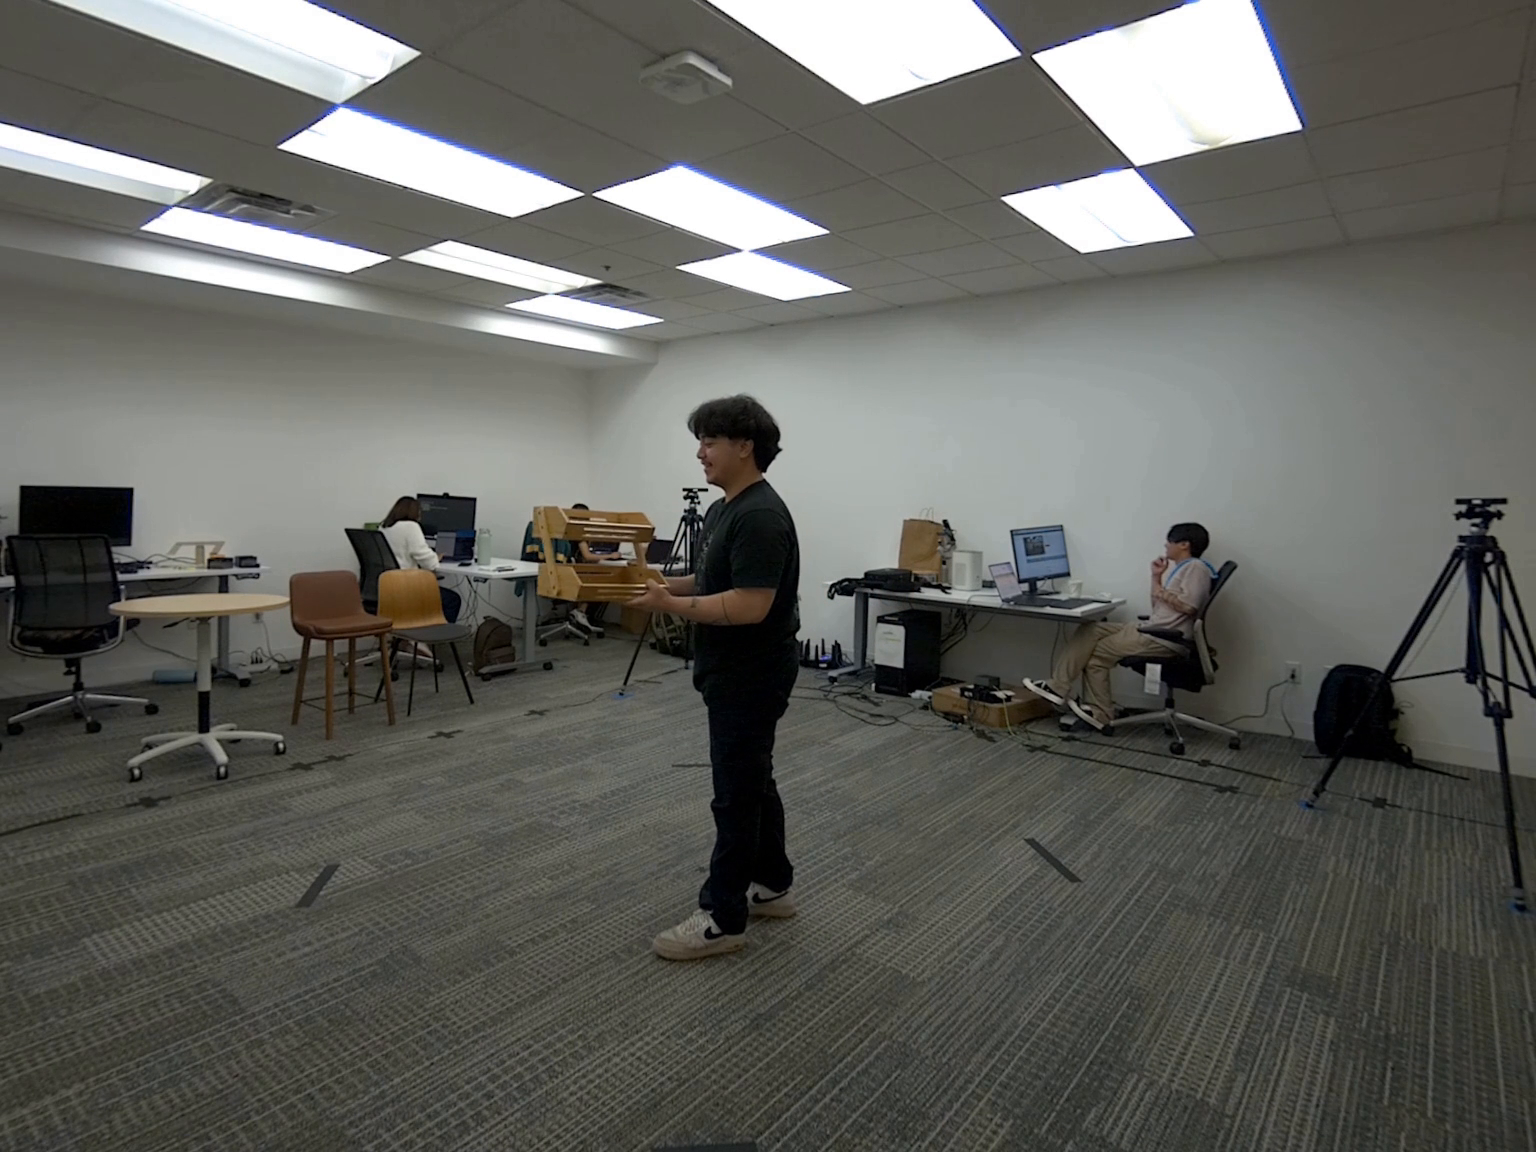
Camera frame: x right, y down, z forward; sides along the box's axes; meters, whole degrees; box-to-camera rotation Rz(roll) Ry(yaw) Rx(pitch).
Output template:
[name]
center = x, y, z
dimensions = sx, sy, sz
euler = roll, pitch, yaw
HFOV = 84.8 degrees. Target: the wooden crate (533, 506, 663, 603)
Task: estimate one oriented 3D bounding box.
[wooden crate]
center = -0.502, -0.072, 2.511
dimensions = 0.314, 0.273, 0.312
euler = 2, 1, -41
